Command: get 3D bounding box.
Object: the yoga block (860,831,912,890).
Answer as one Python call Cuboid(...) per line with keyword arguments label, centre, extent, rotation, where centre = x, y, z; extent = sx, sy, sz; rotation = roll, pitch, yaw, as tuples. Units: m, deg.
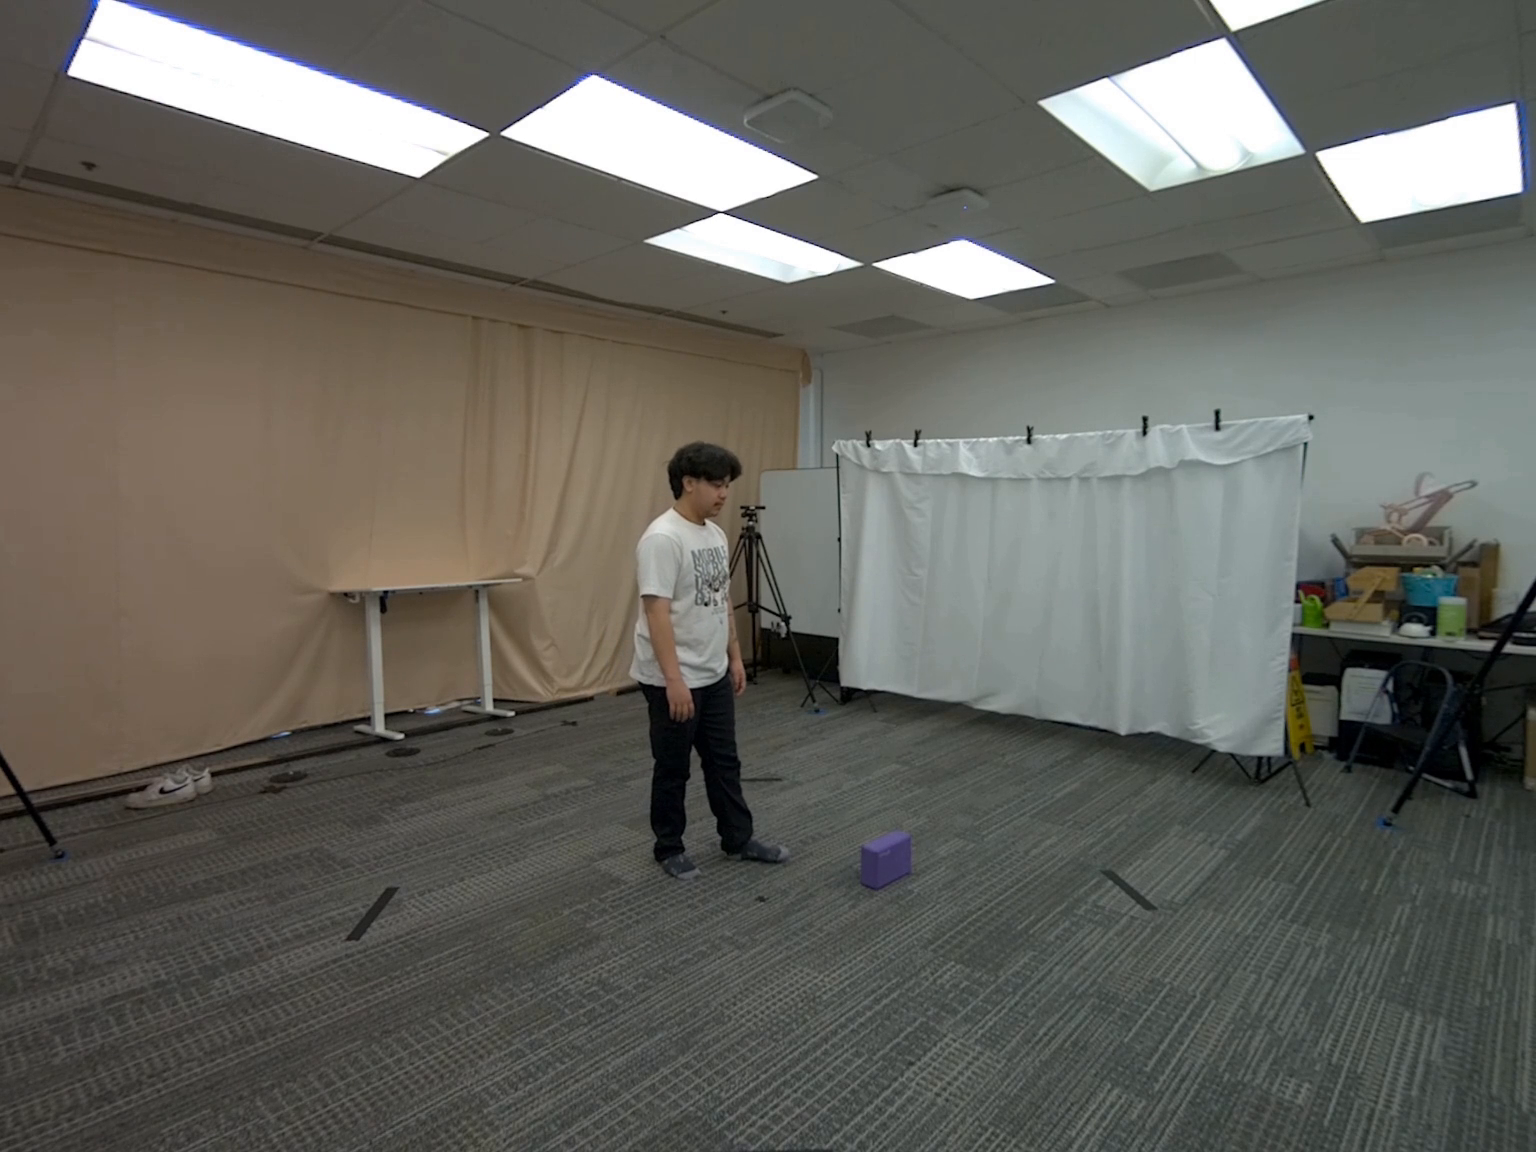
Cuboid(label="yoga block", centre=(0.447, 1.053, 3.137), extent=(0.222, 0.149, 0.079), rotation=(-3, 4, -44))
